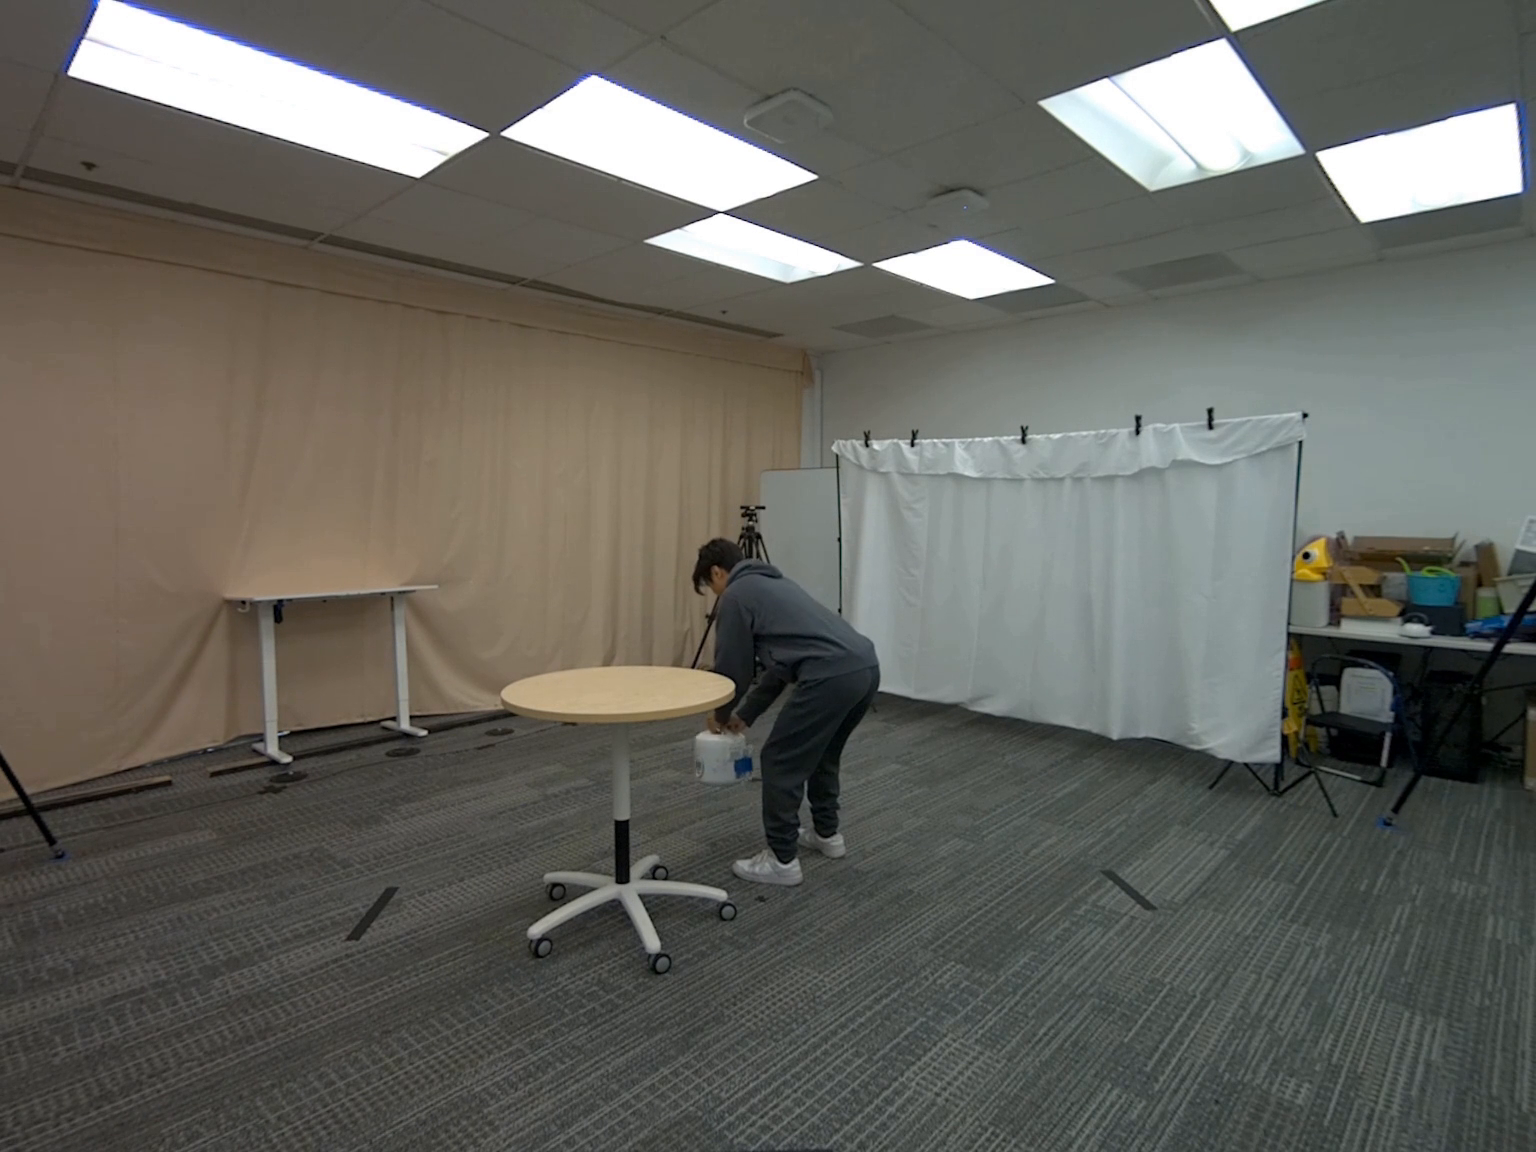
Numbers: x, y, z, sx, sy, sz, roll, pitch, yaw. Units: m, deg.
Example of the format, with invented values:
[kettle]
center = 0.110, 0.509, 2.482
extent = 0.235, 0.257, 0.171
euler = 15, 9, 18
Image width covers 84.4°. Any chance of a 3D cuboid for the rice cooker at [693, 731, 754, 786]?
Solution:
[rice cooker]
center = -0.196, 0.732, 3.462
extent = 0.211, 0.233, 0.227
euler = 2, -4, -35
